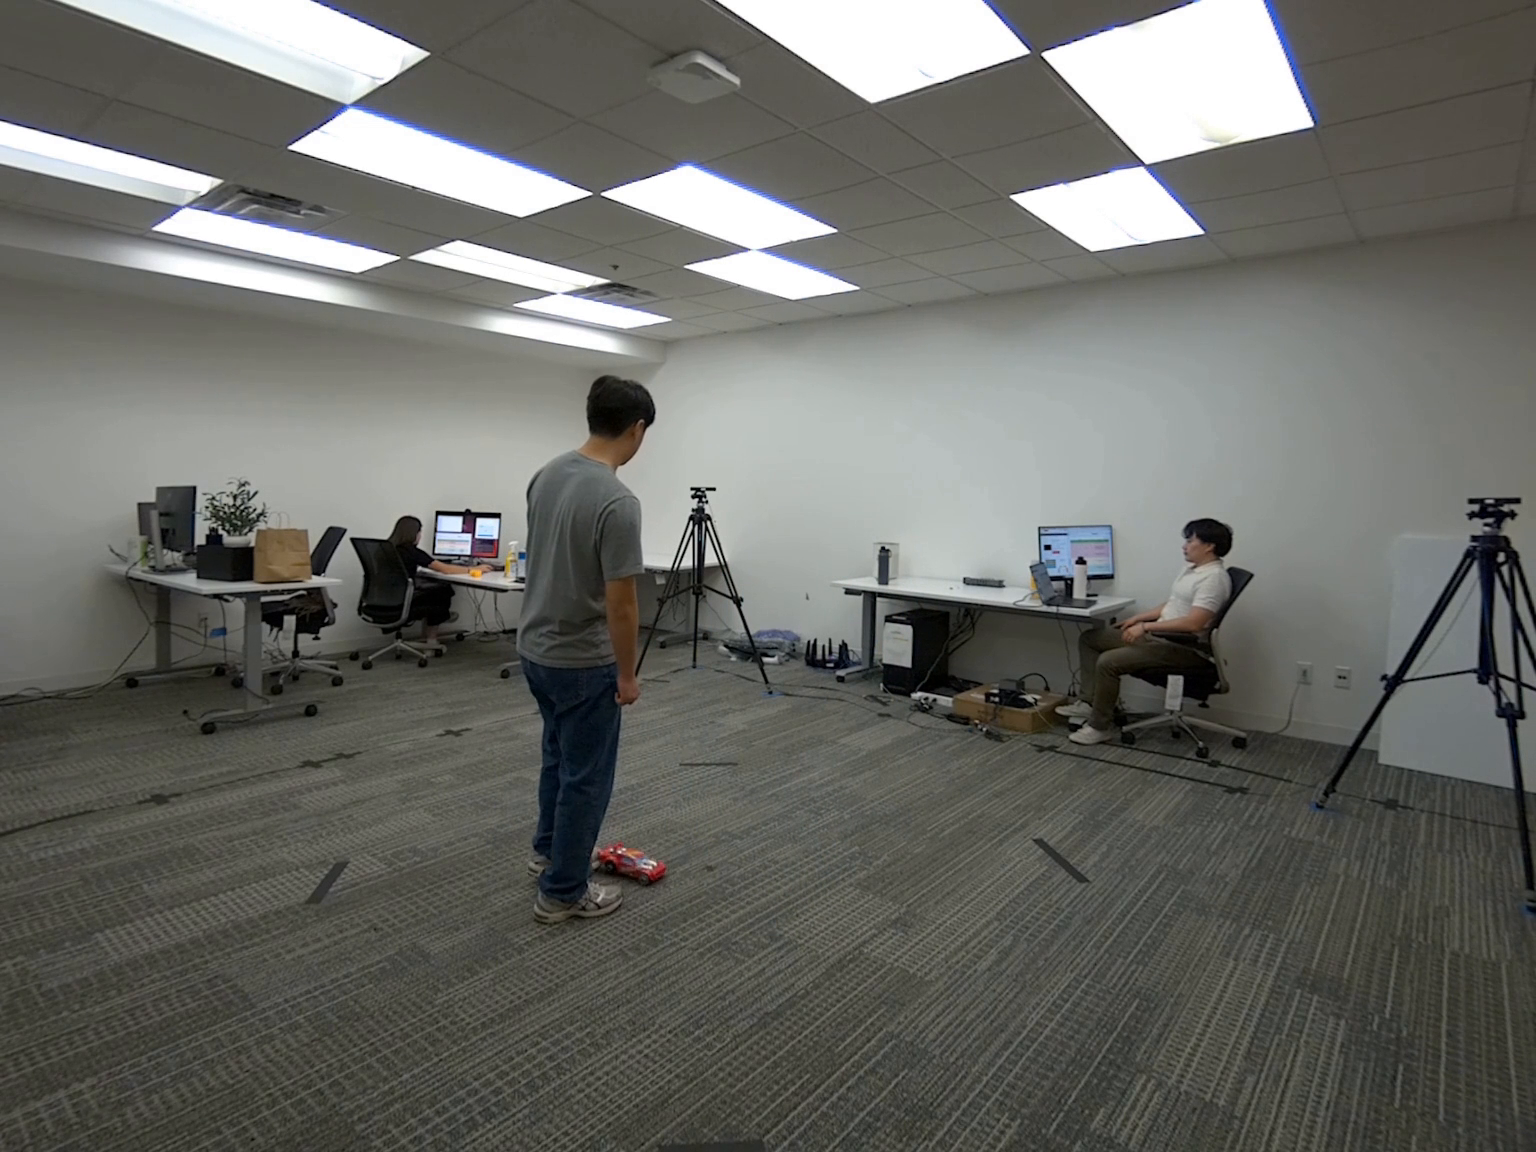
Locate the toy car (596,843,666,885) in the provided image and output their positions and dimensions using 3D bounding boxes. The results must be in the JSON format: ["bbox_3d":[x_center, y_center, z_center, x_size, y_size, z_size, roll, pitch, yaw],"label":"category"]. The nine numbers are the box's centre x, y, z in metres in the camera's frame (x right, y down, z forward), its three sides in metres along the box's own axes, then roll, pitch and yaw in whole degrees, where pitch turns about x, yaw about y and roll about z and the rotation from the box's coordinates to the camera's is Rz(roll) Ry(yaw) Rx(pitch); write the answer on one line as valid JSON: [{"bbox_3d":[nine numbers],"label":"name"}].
[{"bbox_3d":[-0.500,1.035,3.050,0.263,0.082,0.127,18,12,28],"label":"toy car"}]
